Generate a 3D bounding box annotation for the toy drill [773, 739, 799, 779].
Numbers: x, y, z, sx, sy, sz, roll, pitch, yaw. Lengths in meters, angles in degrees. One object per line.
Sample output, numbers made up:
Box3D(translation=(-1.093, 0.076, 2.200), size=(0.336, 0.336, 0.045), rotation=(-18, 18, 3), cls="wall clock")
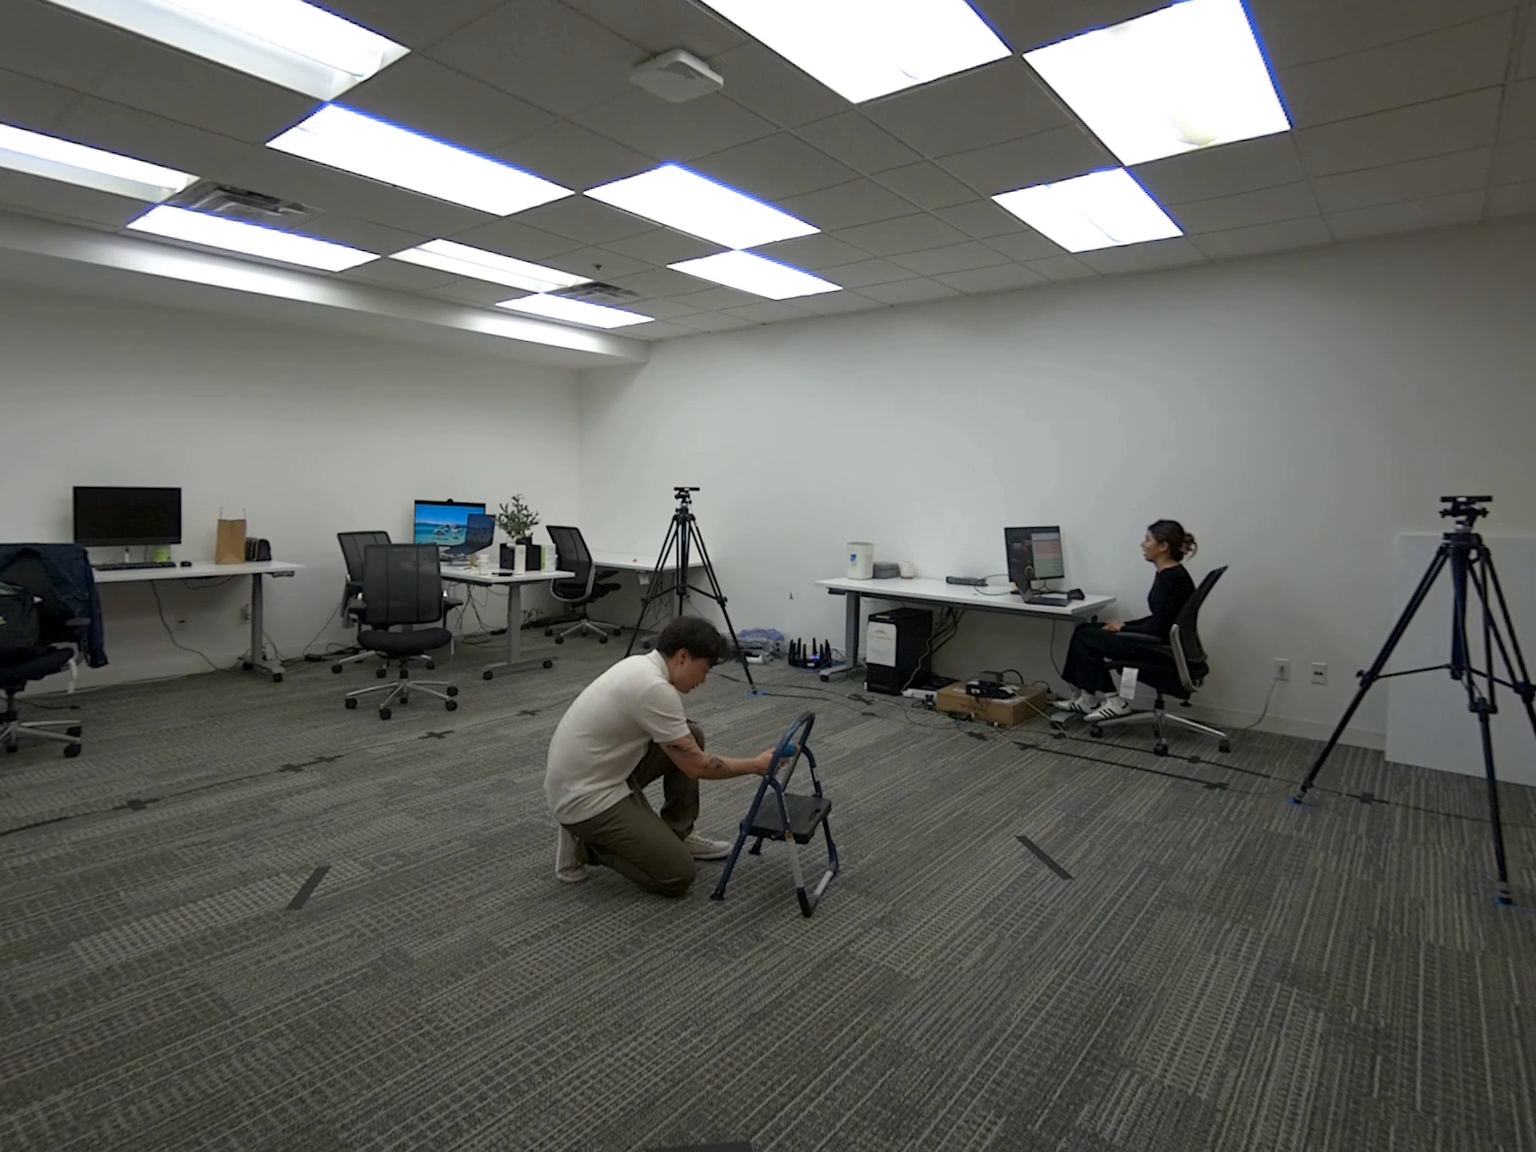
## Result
Box3D(translation=(0.044, 0.666, 3.087), size=(0.063, 0.146, 0.164), rotation=(50, 19, 23), cls="toy drill")
